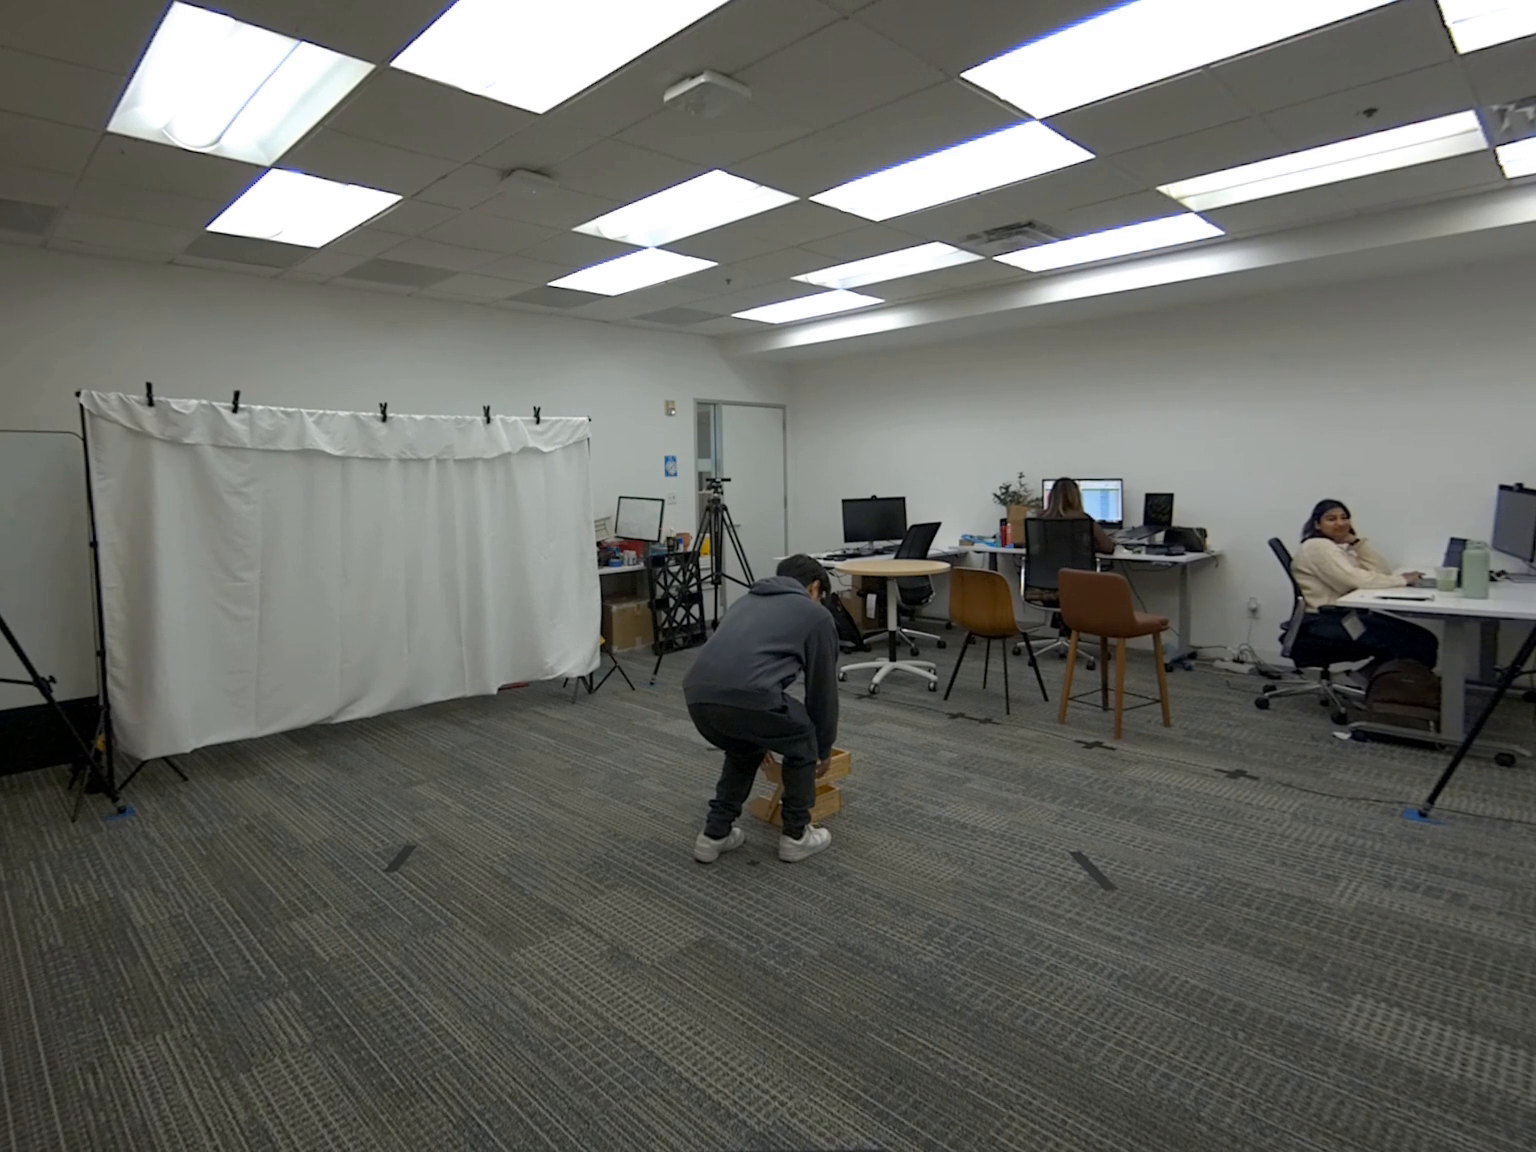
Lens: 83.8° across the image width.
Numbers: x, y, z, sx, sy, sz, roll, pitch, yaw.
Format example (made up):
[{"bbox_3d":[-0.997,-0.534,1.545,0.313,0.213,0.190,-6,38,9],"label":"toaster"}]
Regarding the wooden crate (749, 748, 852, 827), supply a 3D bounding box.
[{"bbox_3d":[0.129,0.856,3.546,0.316,0.272,0.311,-7,9,-45],"label":"wooden crate"}]
